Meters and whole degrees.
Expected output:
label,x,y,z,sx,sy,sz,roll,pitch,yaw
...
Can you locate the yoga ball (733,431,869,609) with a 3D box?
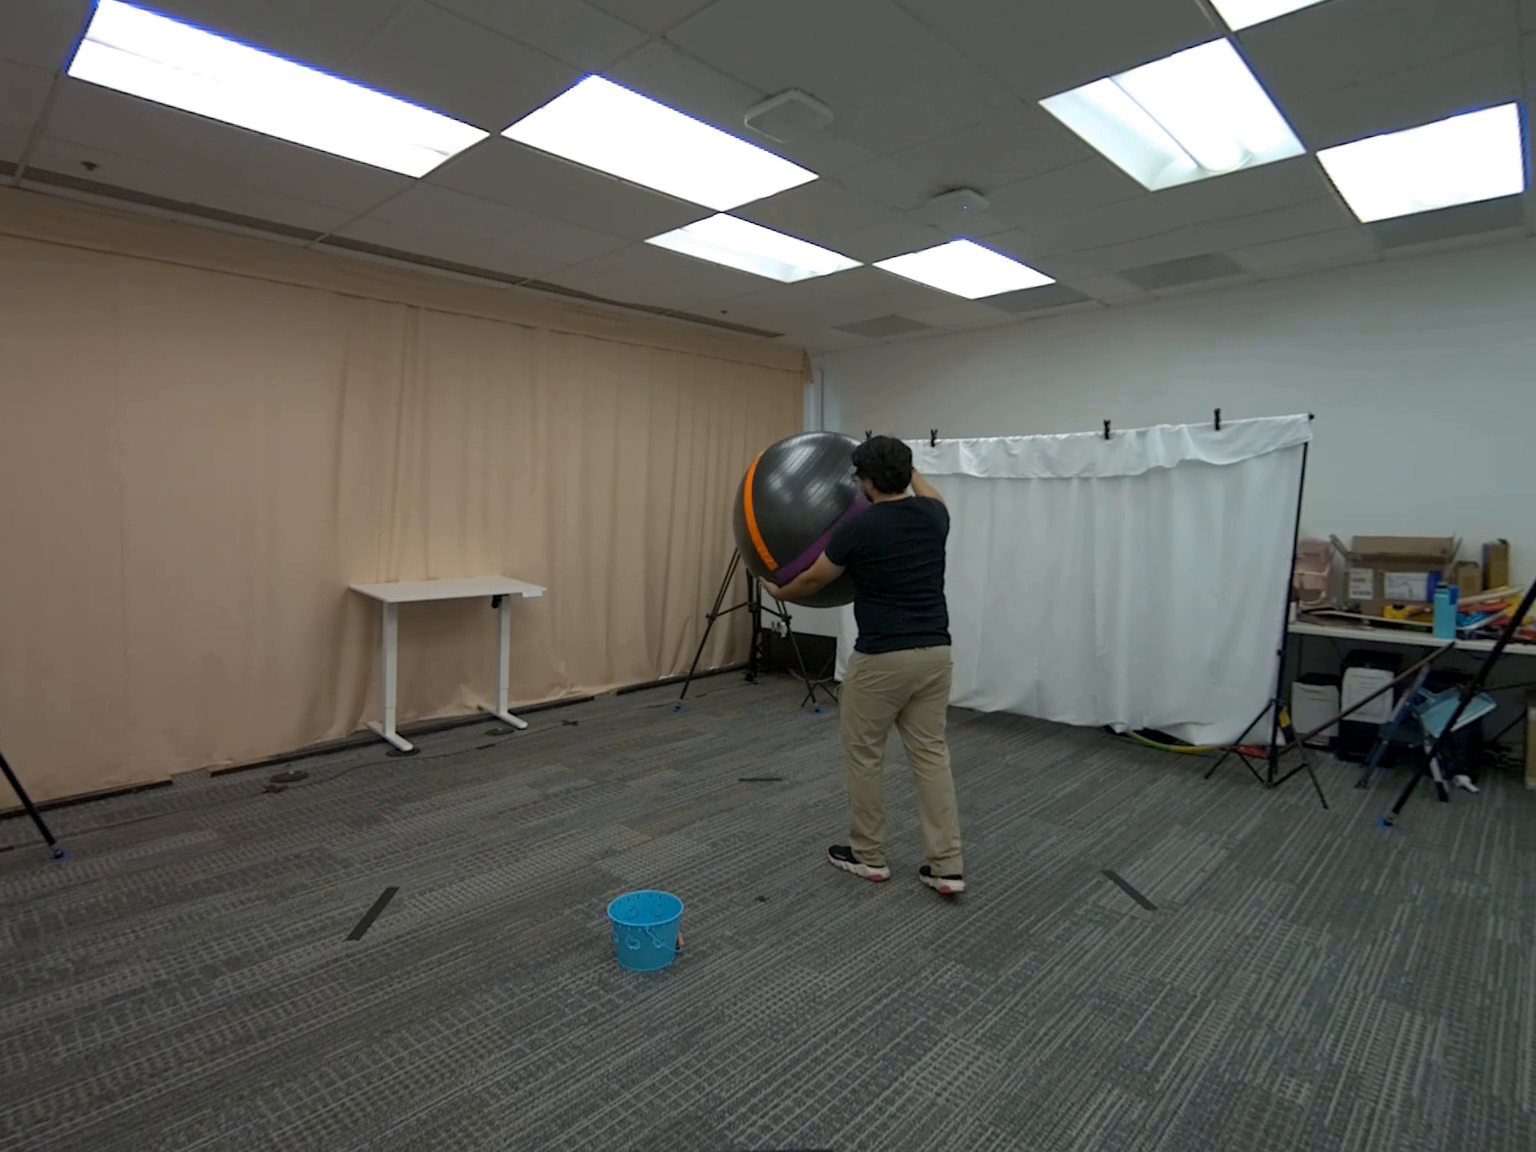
label,x,y,z,sx,sy,sz,roll,pitch,yaw
yoga ball,0.229,-0.235,3.635,0.757,0.756,0.760,0,4,-2
